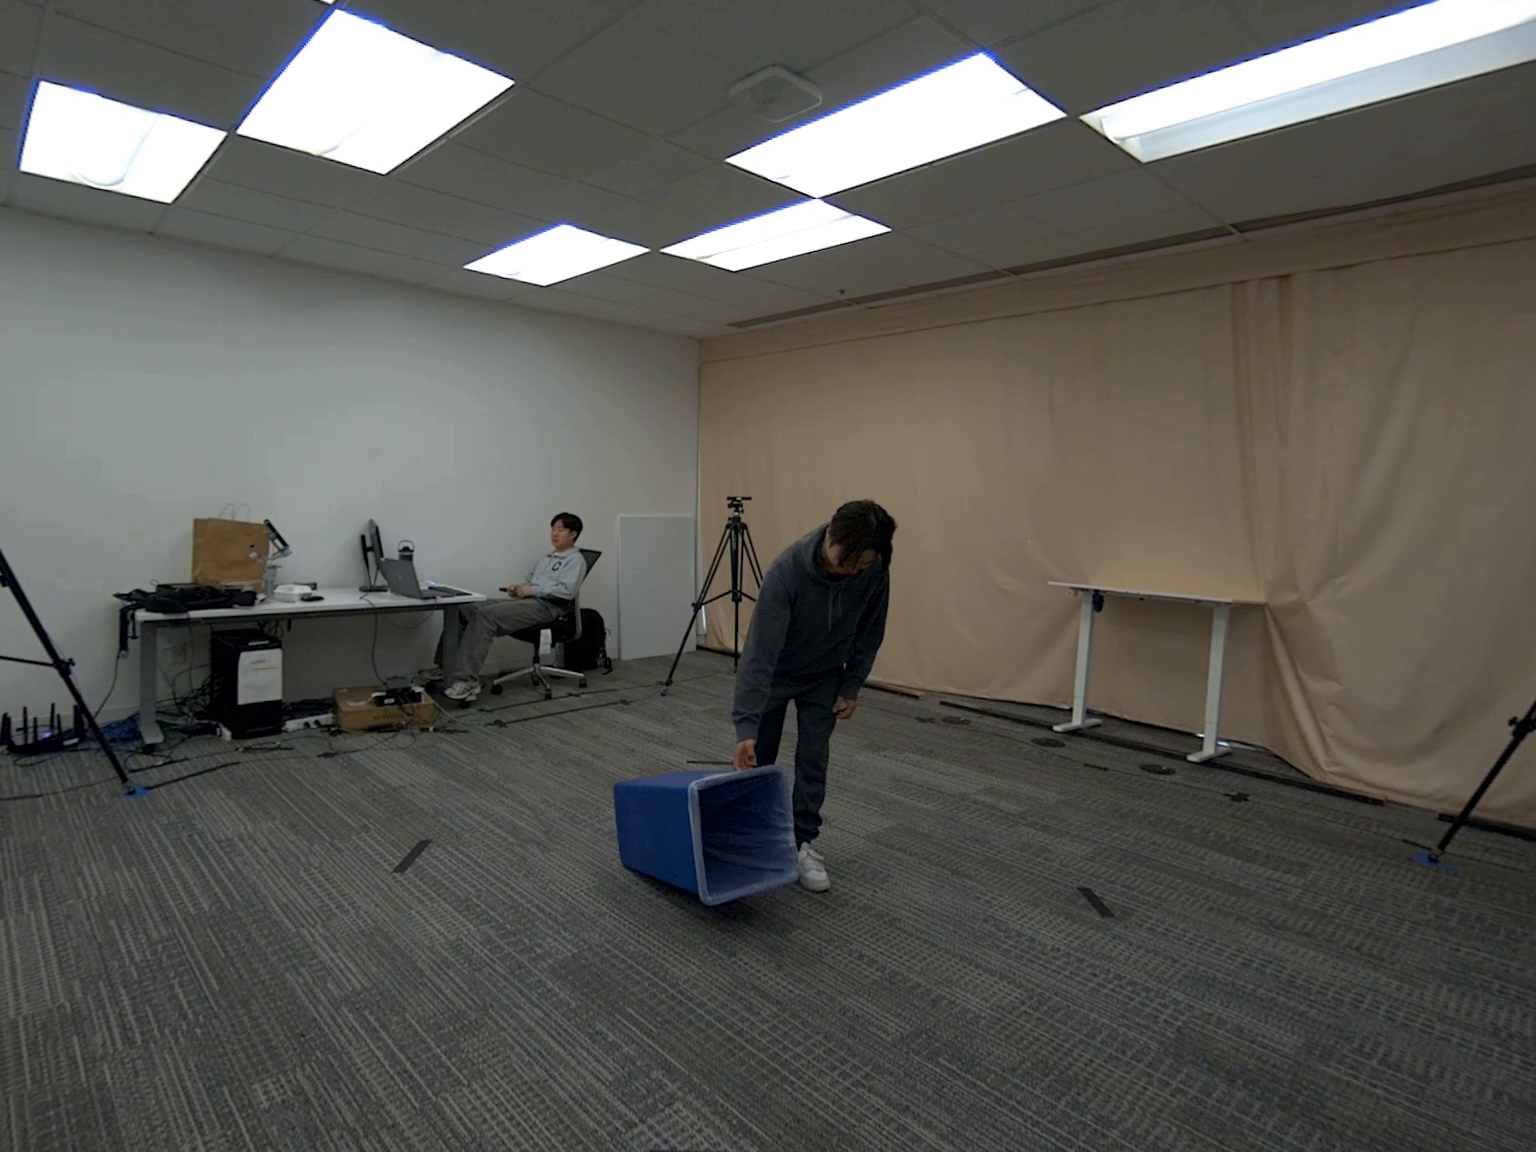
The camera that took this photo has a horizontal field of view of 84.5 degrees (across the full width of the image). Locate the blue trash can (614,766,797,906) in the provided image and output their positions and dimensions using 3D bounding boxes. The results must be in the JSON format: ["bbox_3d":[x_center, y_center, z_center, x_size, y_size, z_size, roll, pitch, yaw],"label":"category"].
[{"bbox_3d":[-0.268,0.879,2.966,0.366,0.381,0.723,-3,-9,-33],"label":"blue trash can"}]
